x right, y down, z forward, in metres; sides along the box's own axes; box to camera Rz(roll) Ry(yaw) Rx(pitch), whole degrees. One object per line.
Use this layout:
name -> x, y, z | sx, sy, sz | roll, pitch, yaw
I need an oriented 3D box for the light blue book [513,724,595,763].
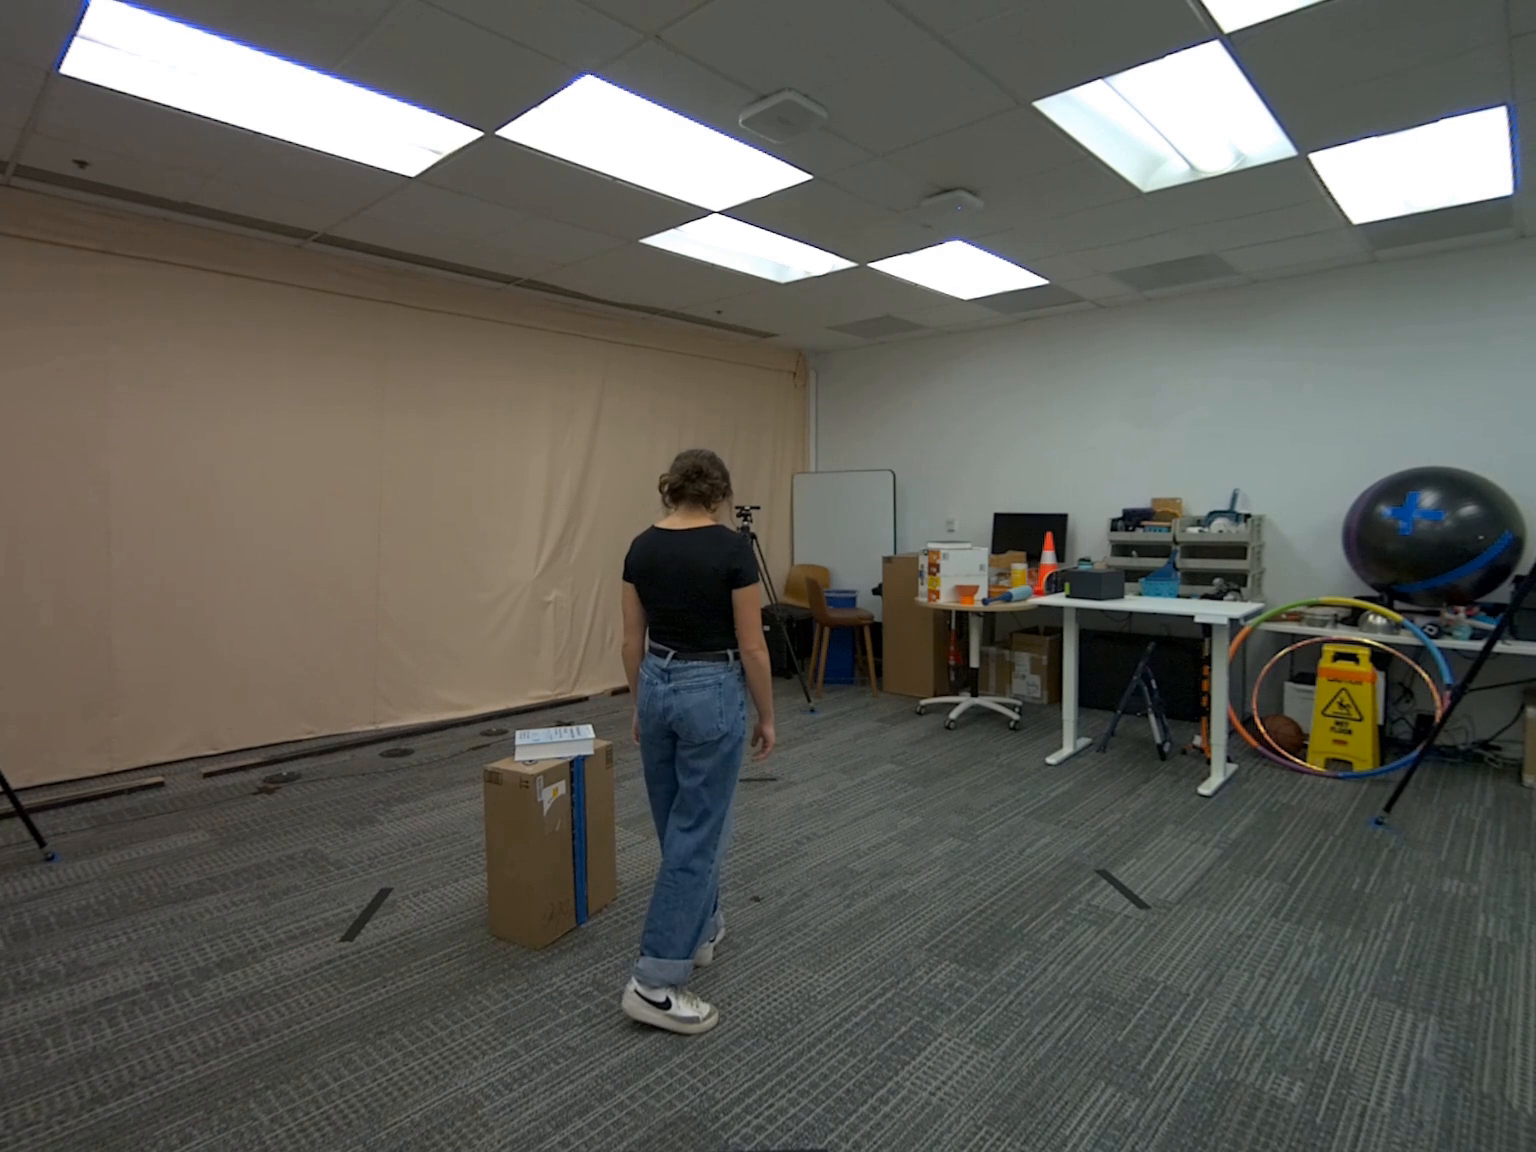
light blue book -> -0.735, 0.568, 2.874 | 0.257, 0.059, 0.194 | -2, 4, -14
